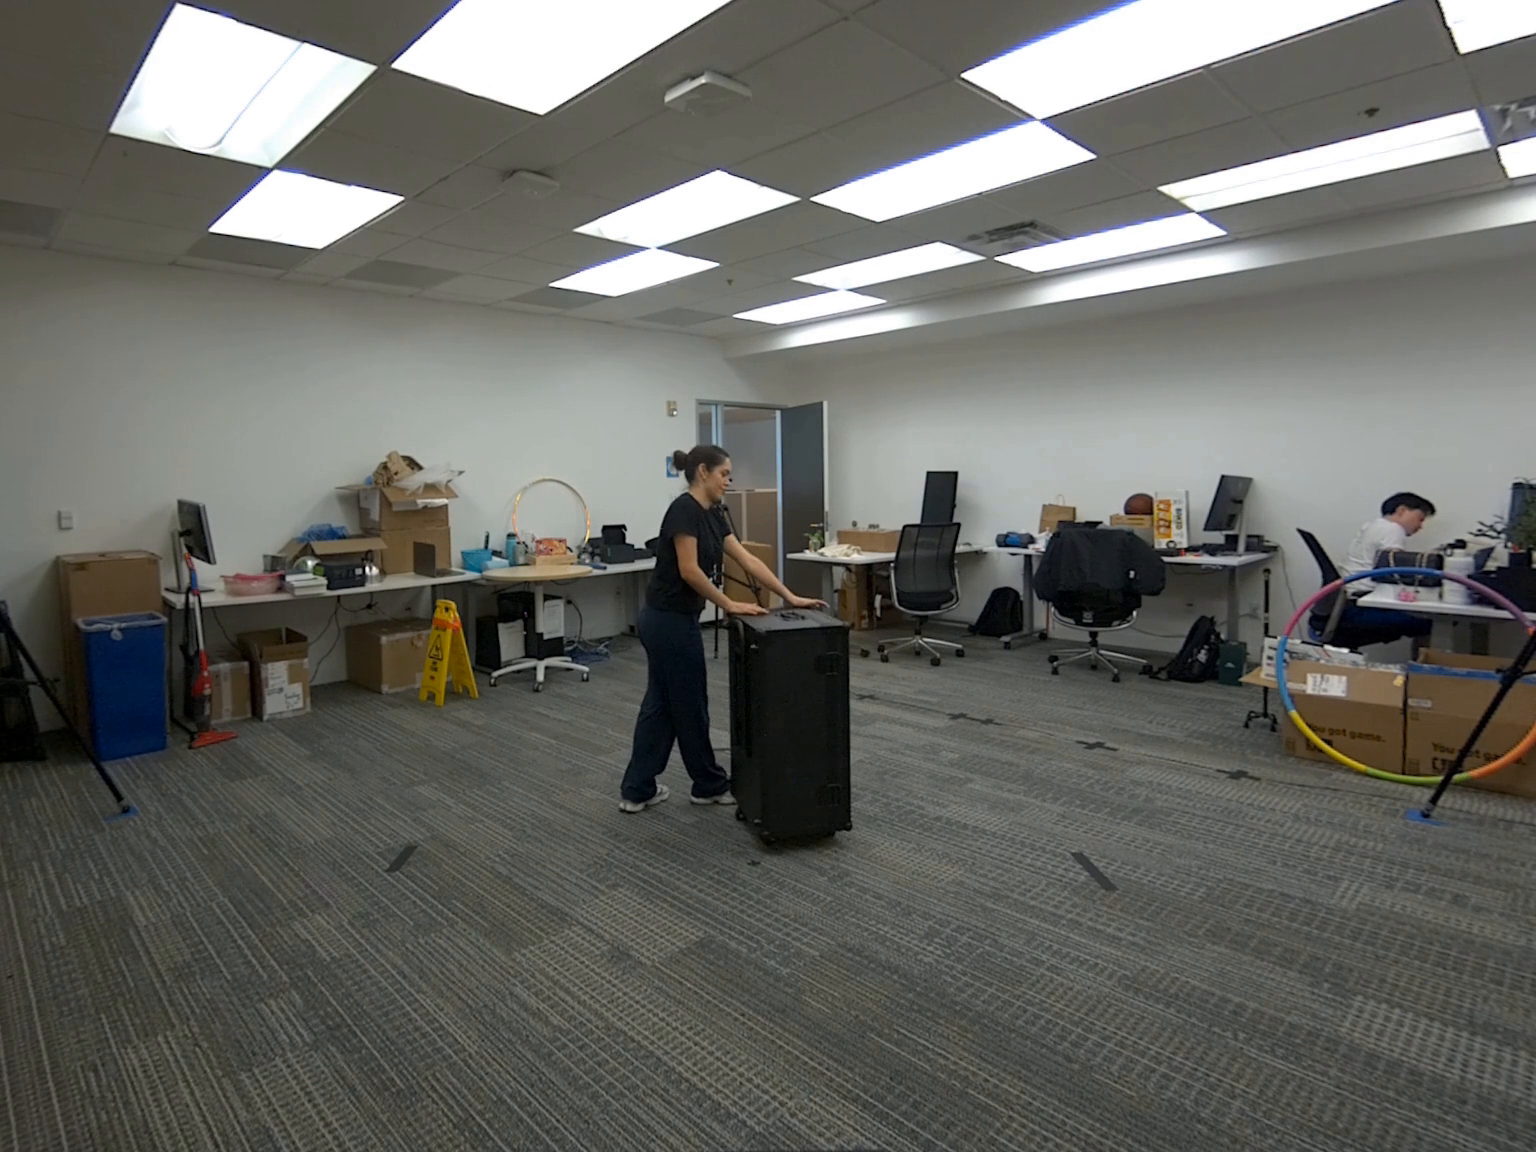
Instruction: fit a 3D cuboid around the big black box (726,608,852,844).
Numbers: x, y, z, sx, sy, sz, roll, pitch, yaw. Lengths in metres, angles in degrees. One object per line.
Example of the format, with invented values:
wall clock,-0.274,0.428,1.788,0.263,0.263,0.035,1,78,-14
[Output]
big black box,0.065,0.582,3.387,0.391,0.857,0.531,-3,5,-15
